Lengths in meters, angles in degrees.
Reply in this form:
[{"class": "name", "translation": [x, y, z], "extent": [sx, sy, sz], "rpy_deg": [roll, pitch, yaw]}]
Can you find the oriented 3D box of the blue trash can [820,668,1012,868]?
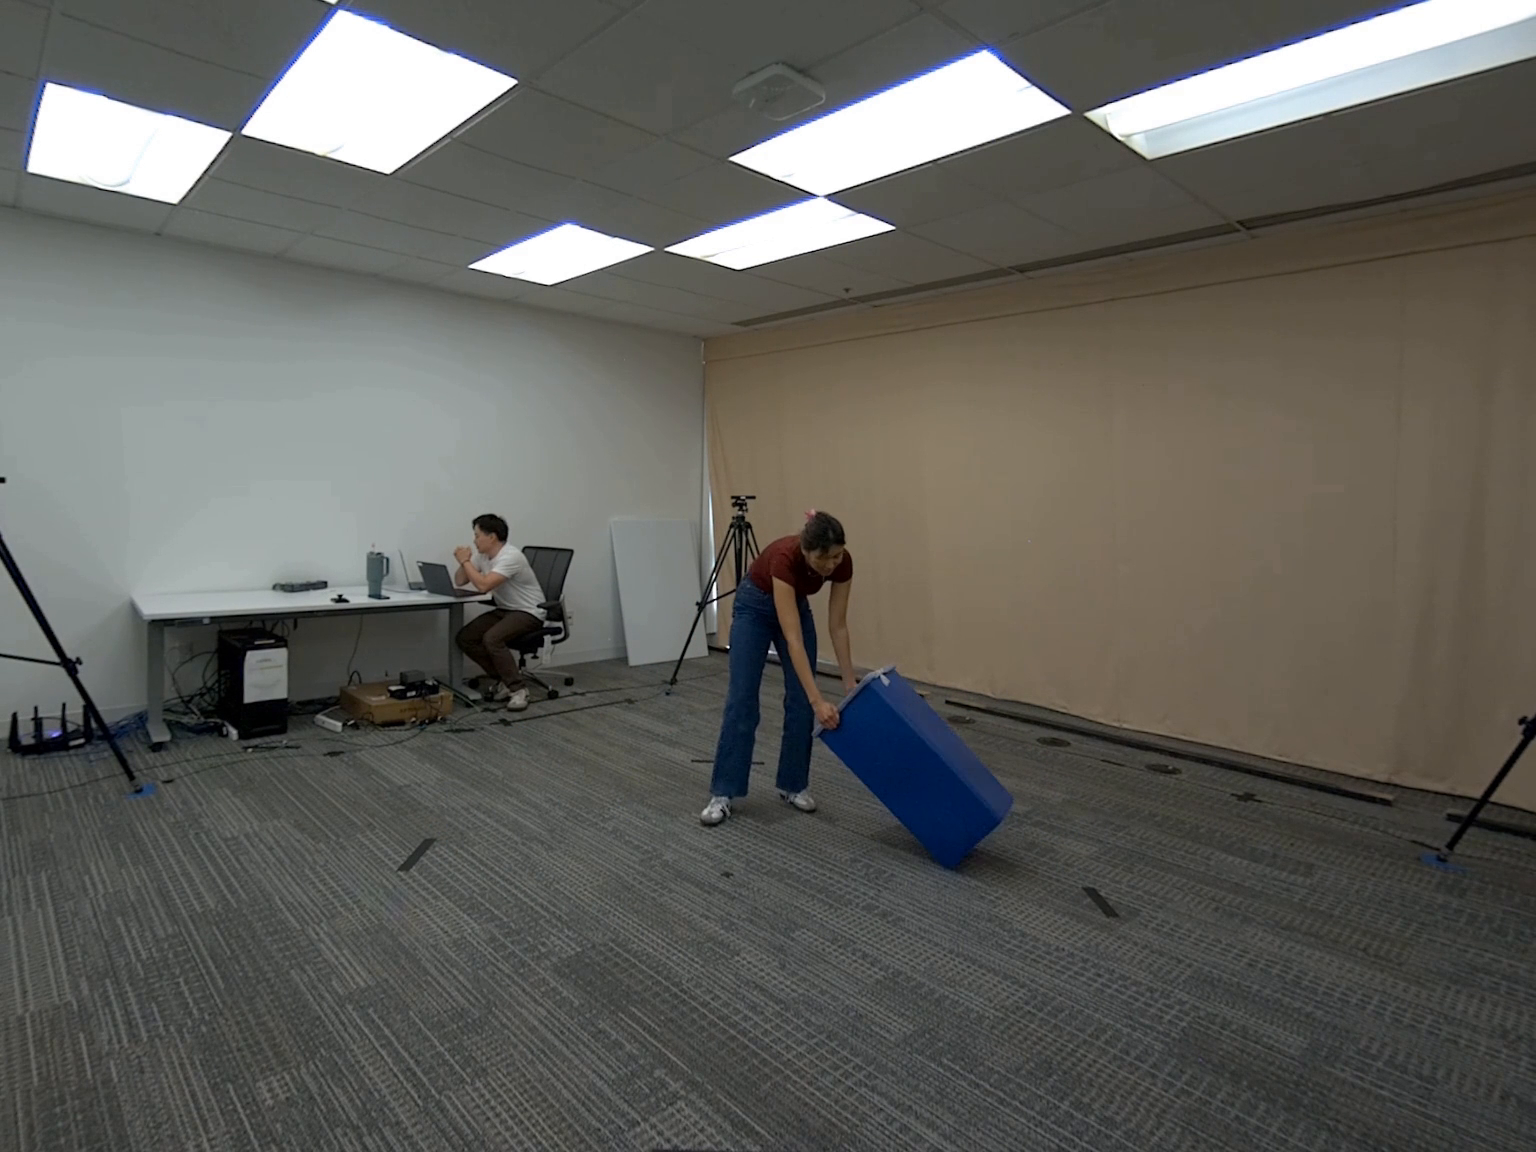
[{"class": "blue trash can", "translation": [0.565, 0.755, 3.370], "extent": [0.728, 0.374, 0.371], "rpy_deg": [47, 20, 19]}]
